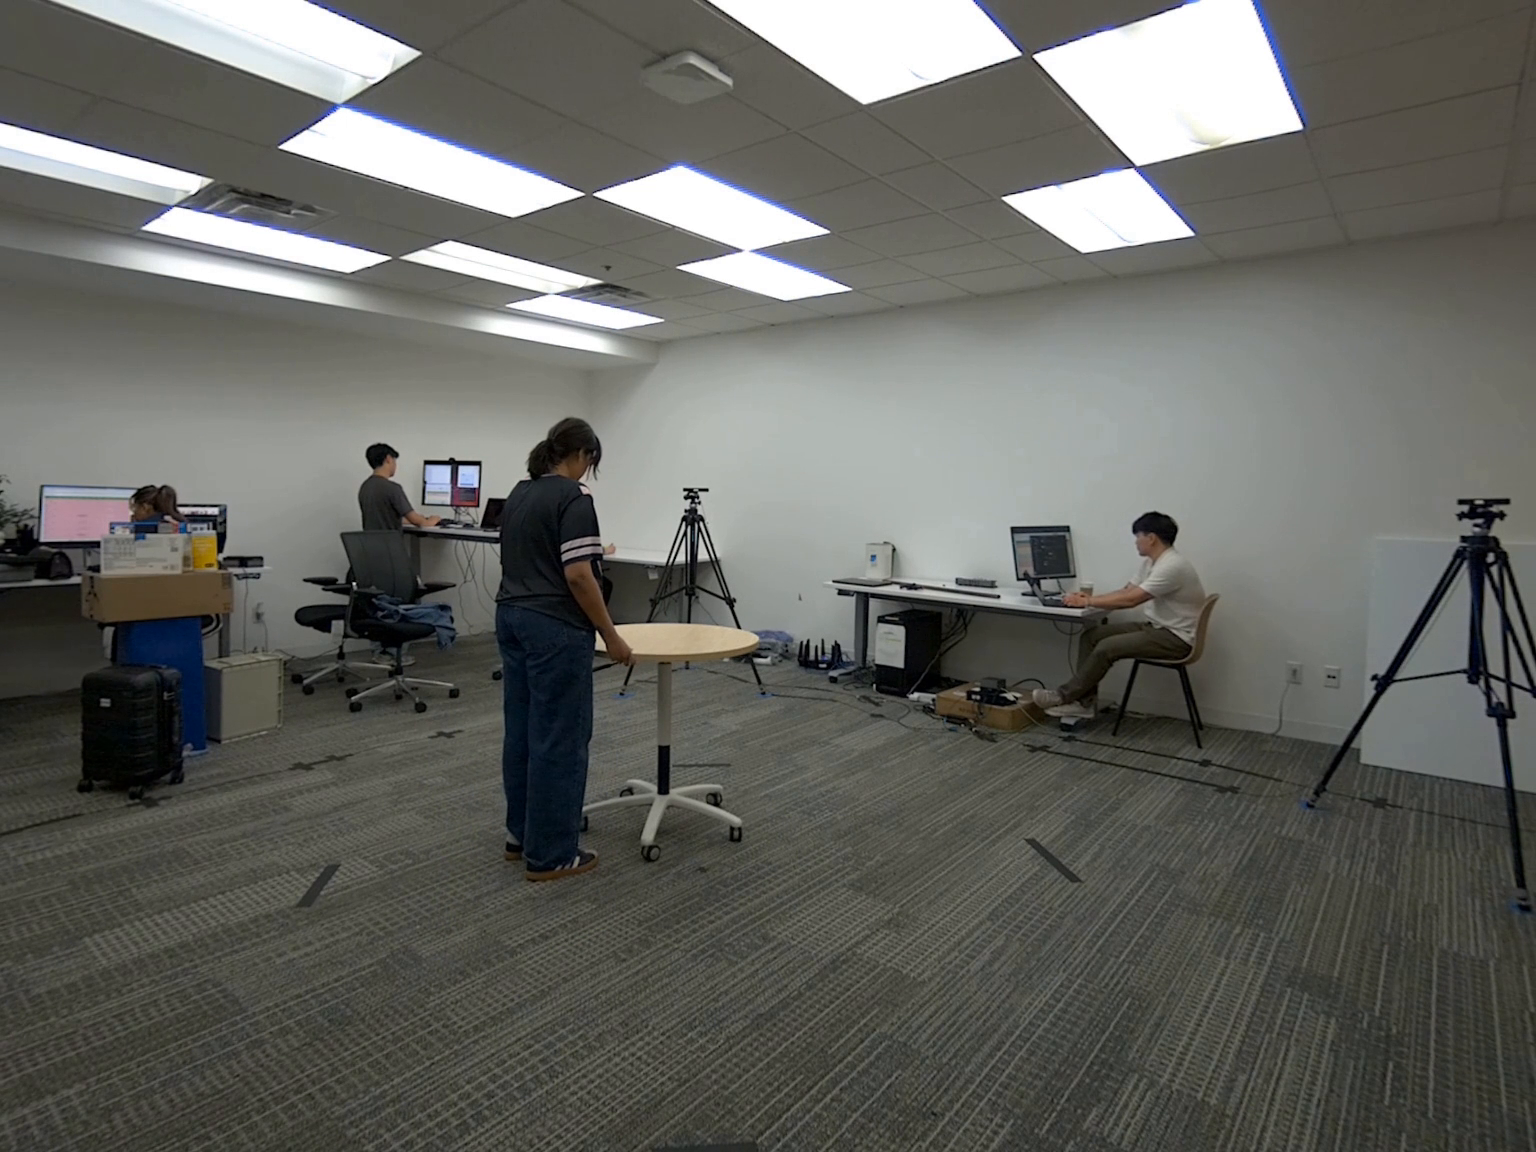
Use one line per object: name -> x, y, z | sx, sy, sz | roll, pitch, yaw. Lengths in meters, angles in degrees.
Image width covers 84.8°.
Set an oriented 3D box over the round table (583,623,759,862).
round table -> -0.431, 0.640, 3.483 | 0.763, 0.792, 0.767 | 1, 3, -2
